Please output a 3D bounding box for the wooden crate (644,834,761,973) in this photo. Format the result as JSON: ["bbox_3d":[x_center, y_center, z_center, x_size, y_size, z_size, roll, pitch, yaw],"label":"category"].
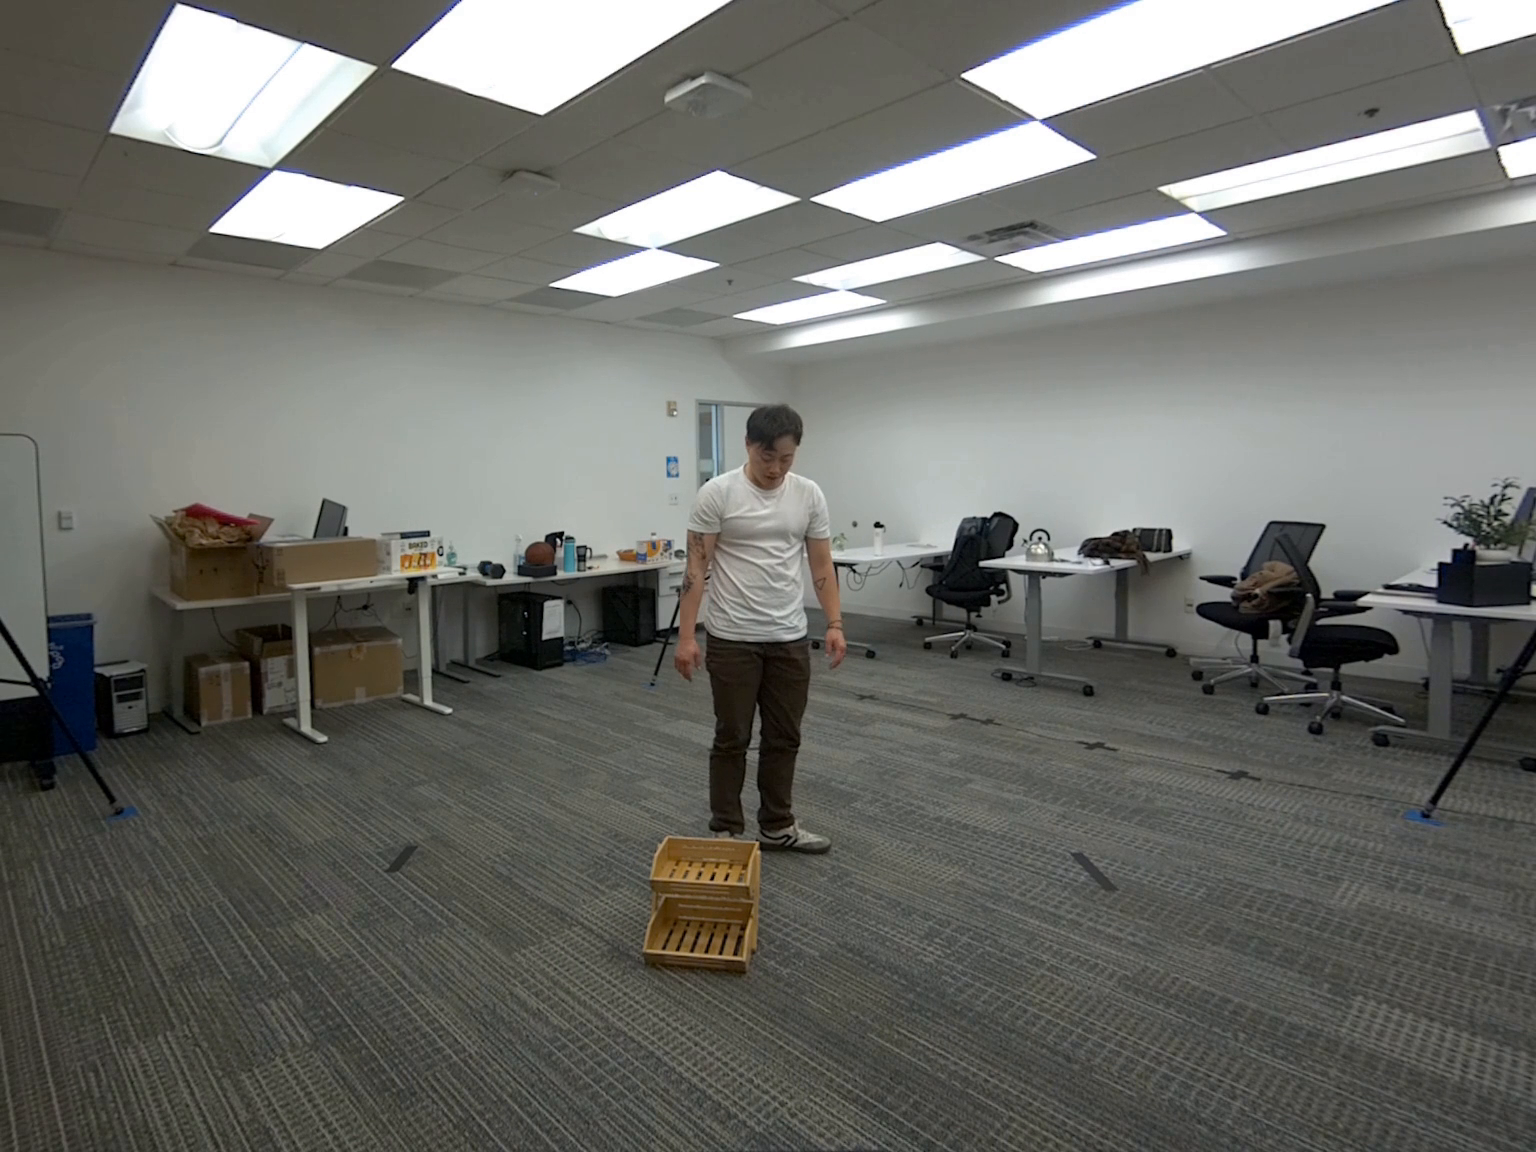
[{"bbox_3d":[-0.190,0.982,2.565,0.327,0.272,0.300,0,5,9],"label":"wooden crate"}]
